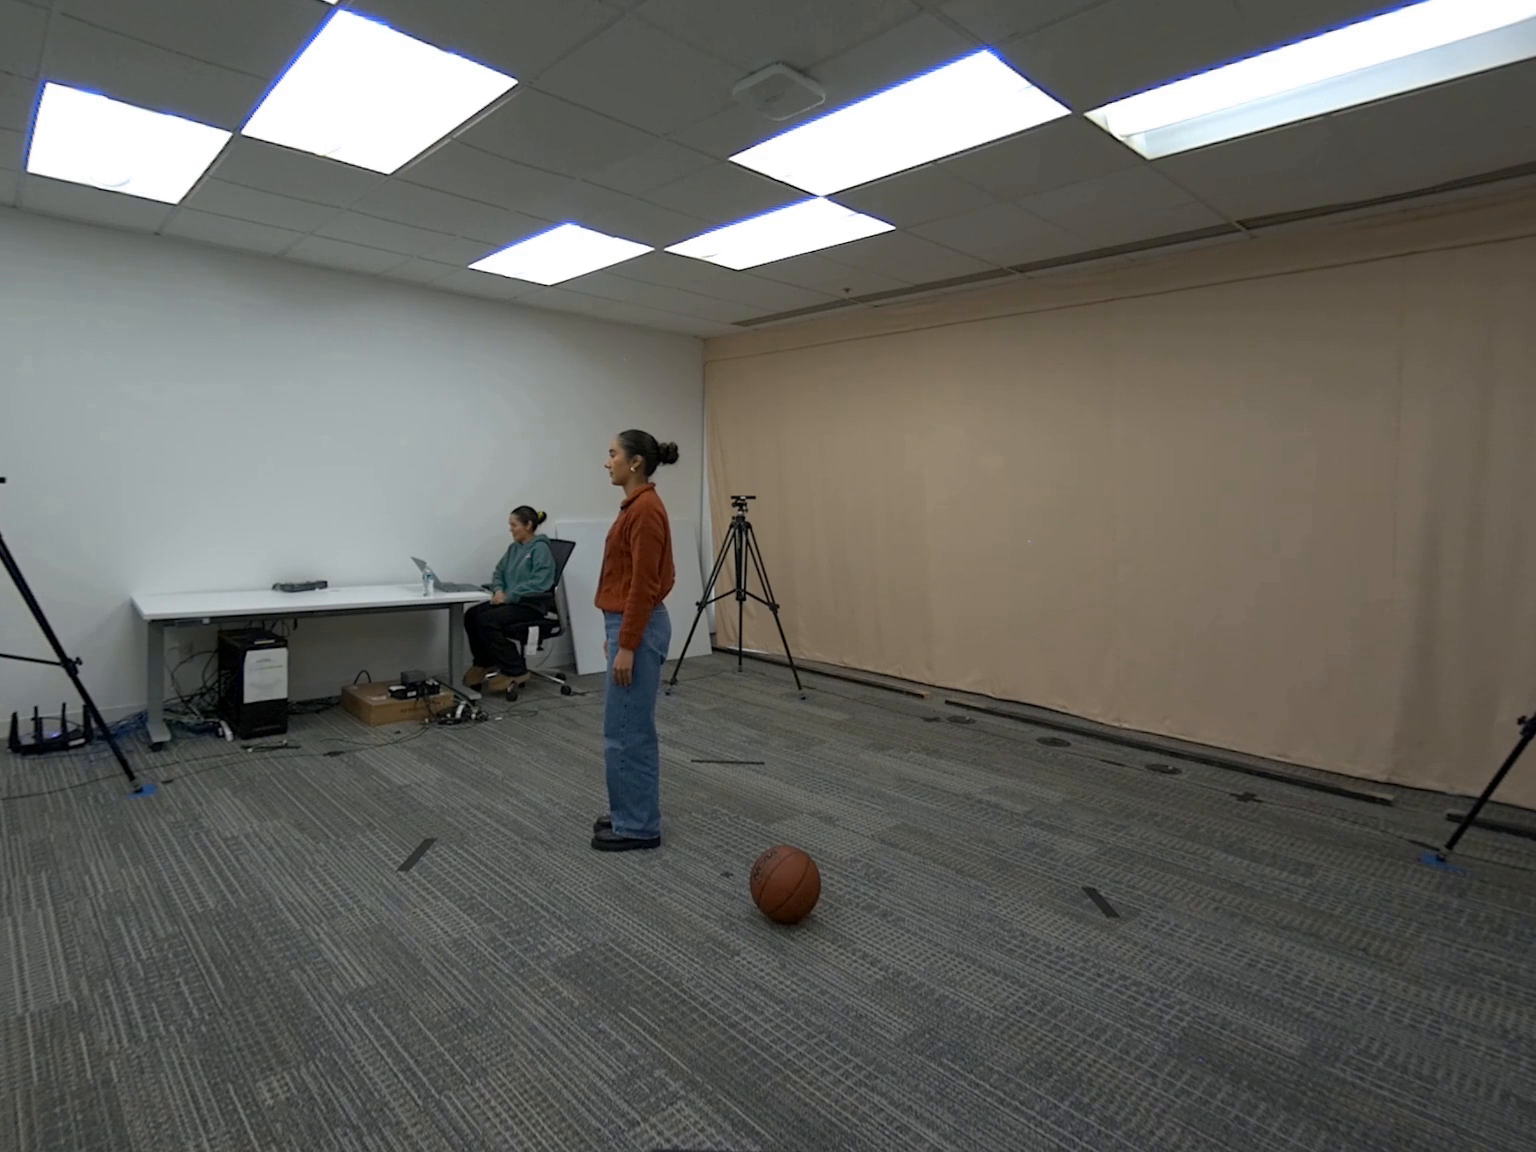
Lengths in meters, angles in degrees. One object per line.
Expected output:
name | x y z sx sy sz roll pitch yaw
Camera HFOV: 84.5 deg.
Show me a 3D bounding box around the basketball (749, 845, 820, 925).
basketball | 0.049 1.012 2.779 0.236 0.235 0.237 1 4 -1
